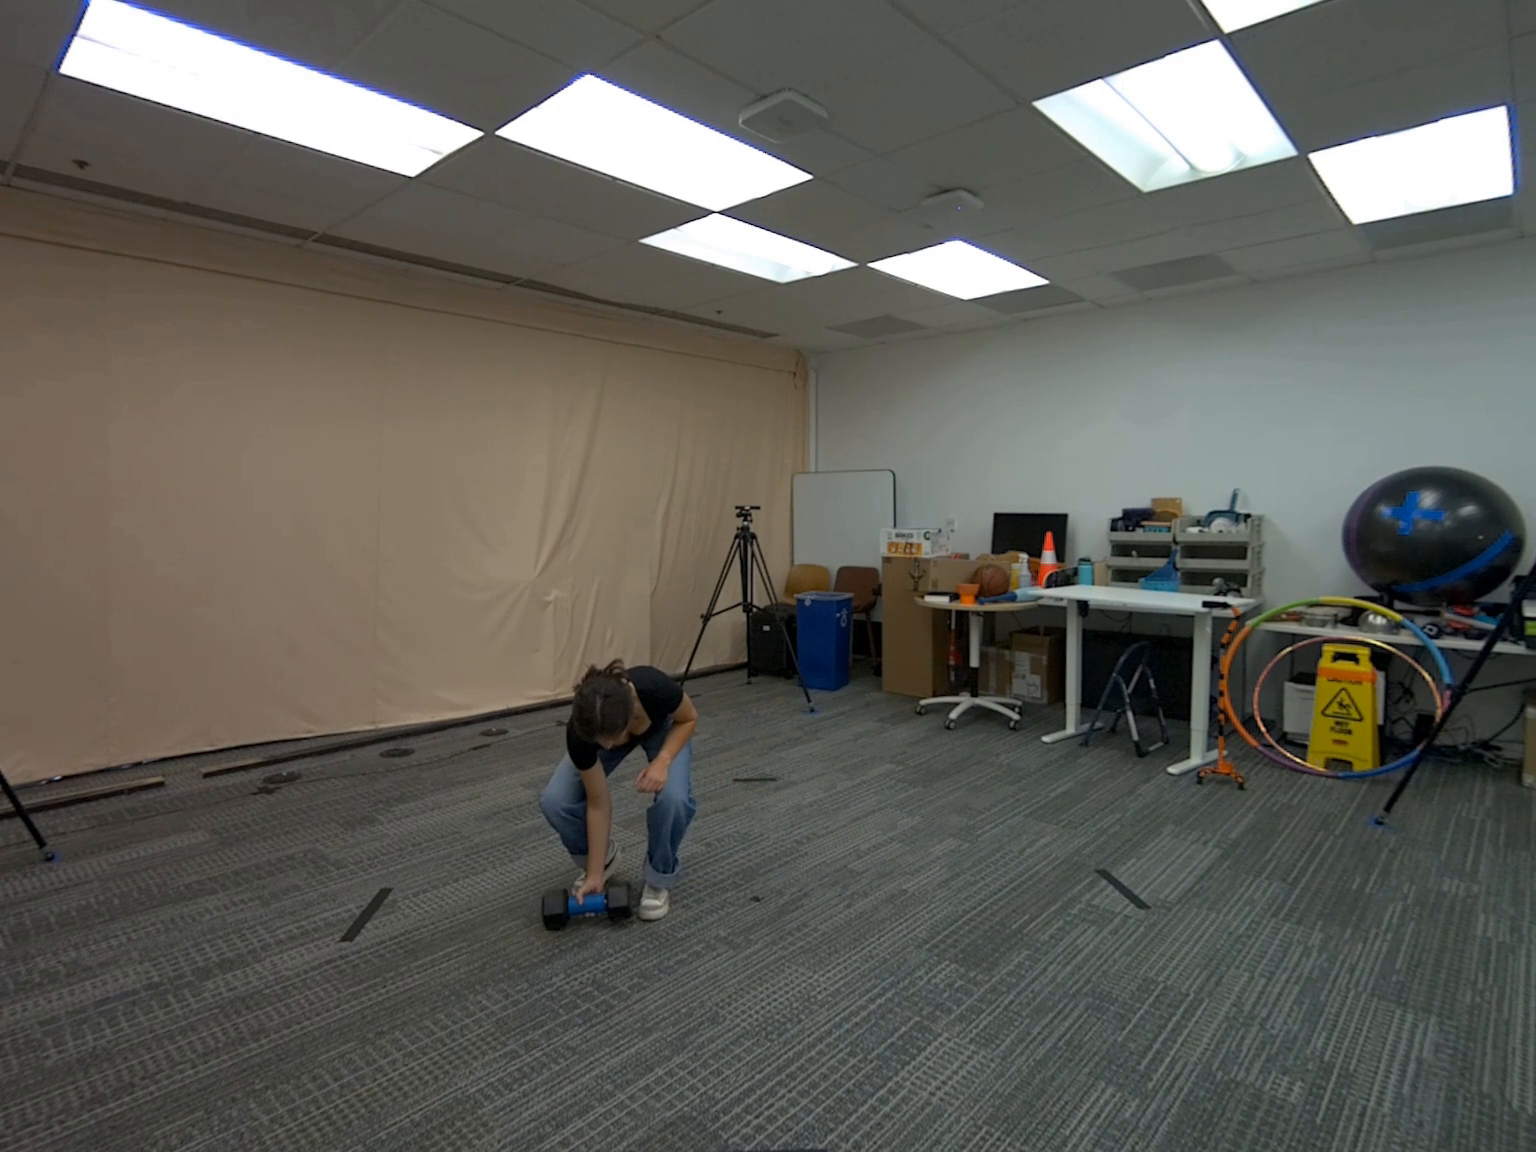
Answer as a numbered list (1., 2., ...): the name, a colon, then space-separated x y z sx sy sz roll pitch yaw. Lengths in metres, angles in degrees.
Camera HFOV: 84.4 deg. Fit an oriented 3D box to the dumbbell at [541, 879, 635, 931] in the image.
1. dumbbell: -0.597 1.073 2.791 0.293 0.125 0.106 -5 -35 -2
